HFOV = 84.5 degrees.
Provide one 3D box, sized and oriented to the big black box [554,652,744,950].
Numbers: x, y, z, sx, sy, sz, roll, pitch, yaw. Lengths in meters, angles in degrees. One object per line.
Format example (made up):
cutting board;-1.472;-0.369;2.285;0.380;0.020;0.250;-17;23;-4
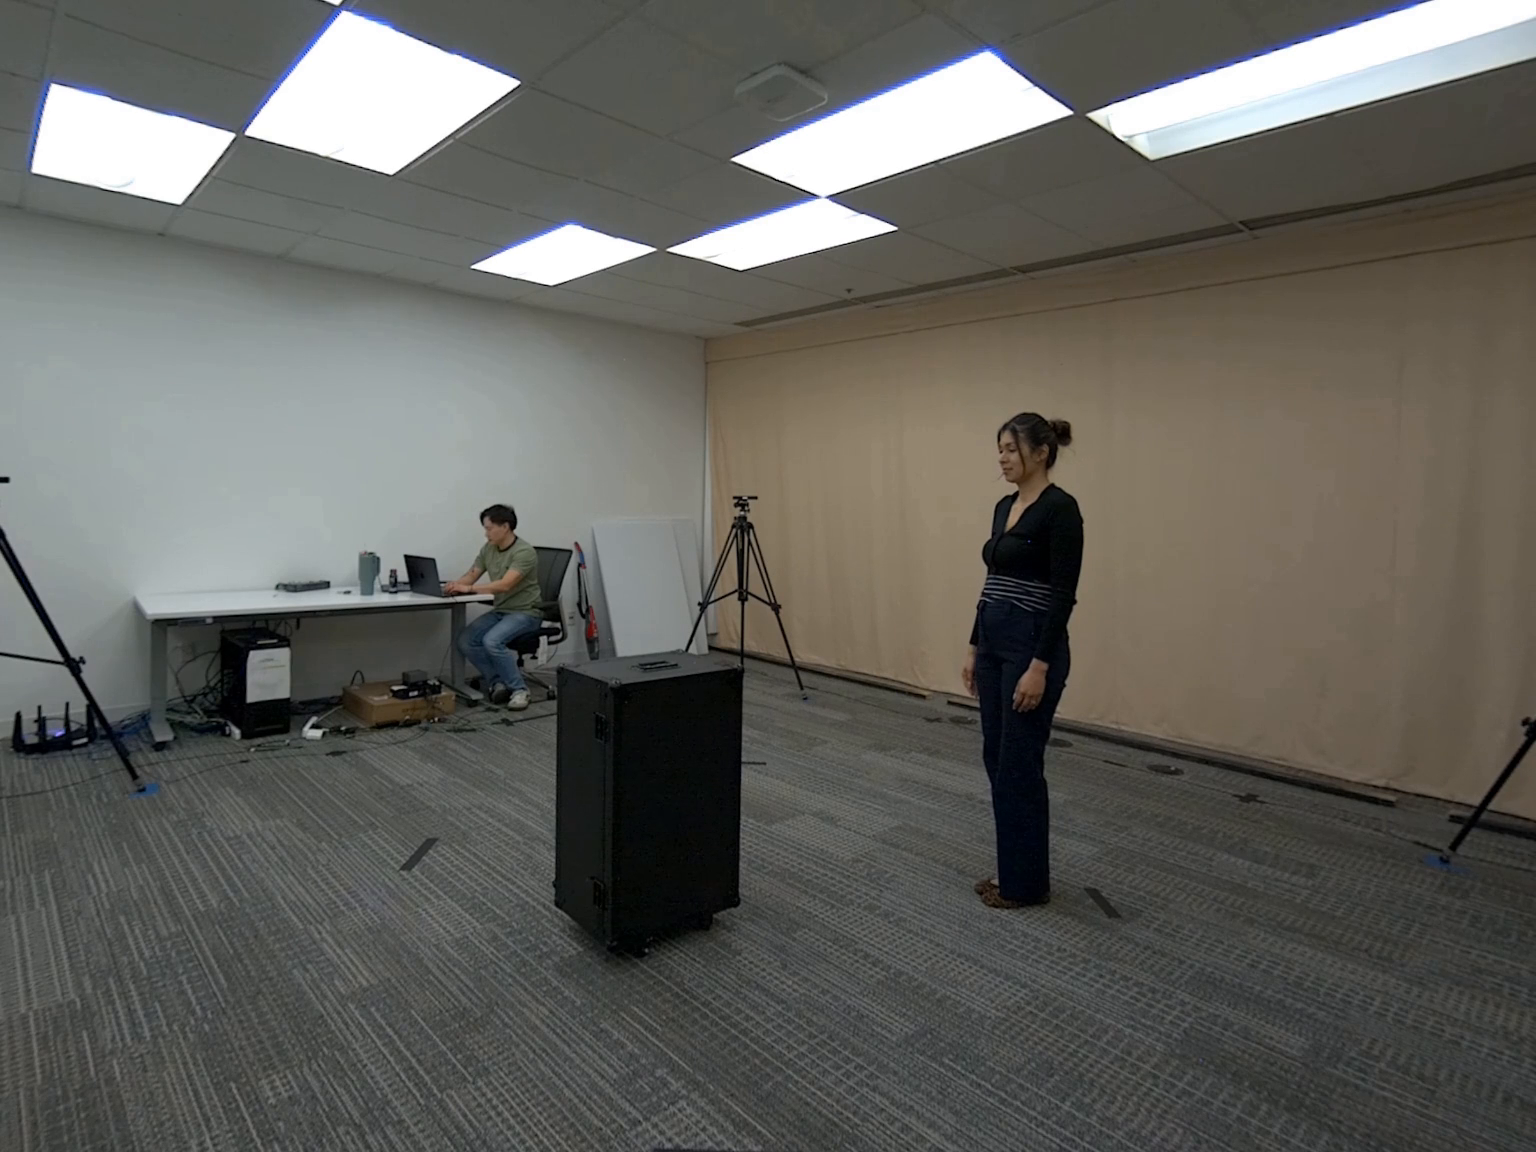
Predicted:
big black box;-0.398;0.713;2.694;0.509;0.860;0.406;-2;4;-40
